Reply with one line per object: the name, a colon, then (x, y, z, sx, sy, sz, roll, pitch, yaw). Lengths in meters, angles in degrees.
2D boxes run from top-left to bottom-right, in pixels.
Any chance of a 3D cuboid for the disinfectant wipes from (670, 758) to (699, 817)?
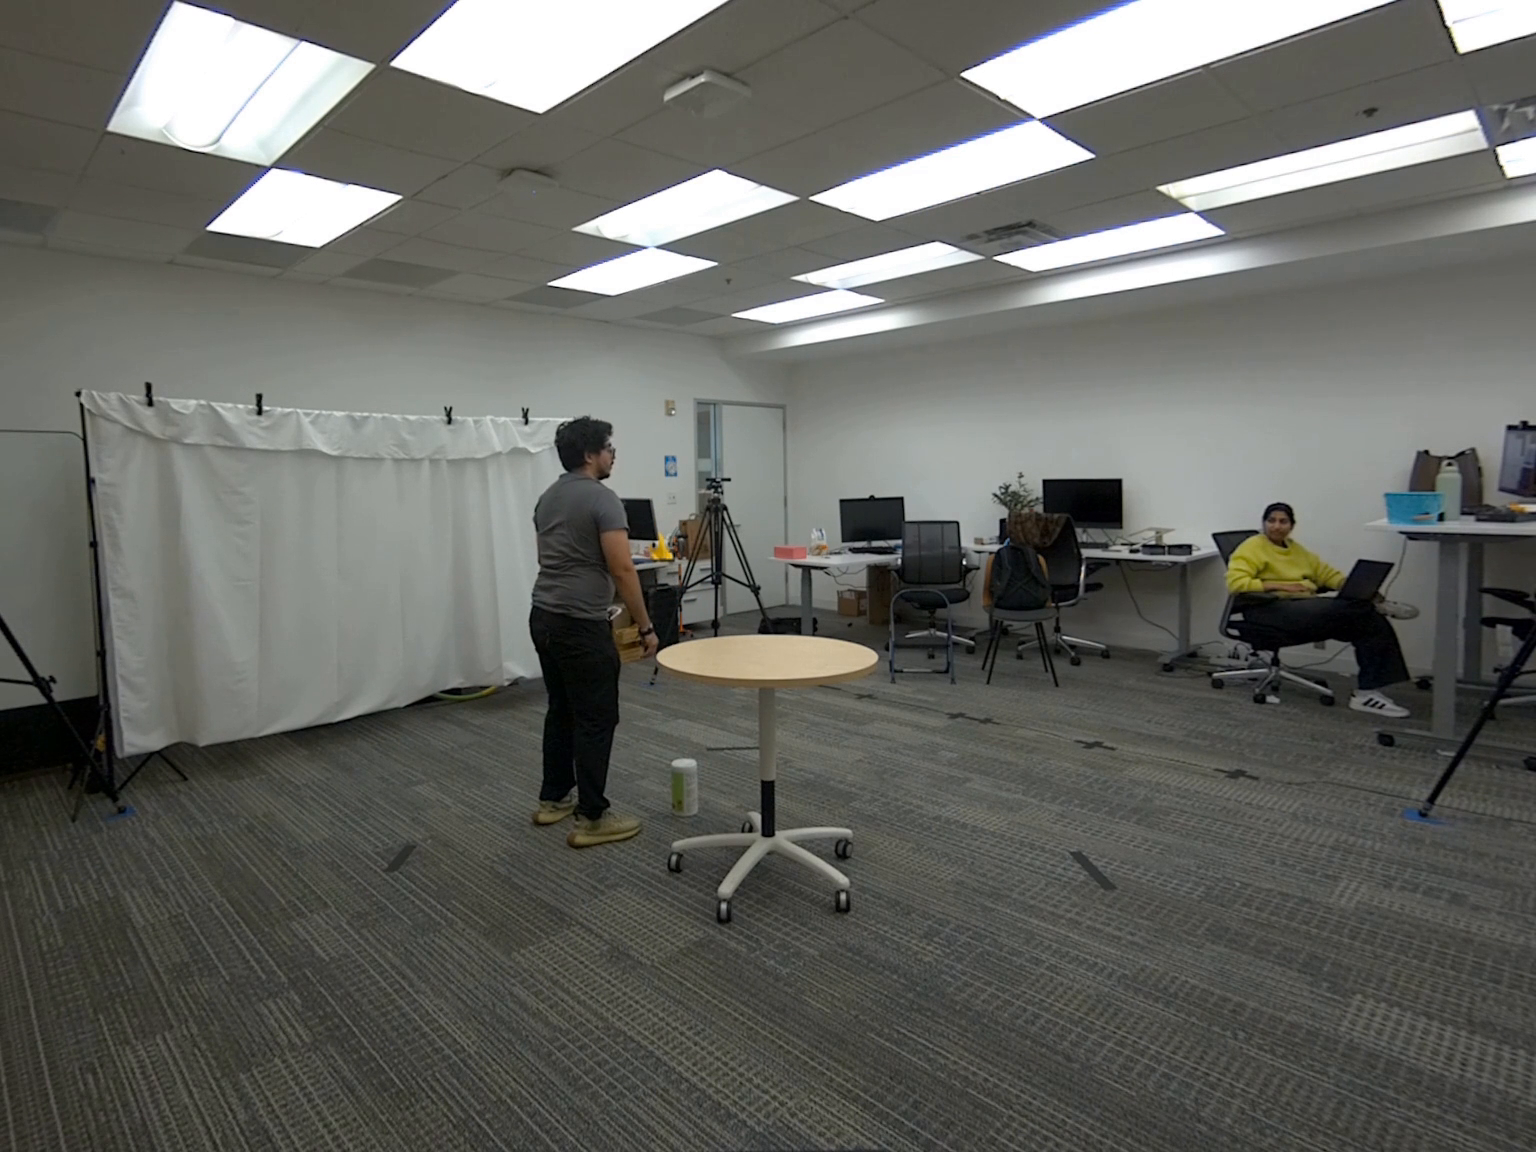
disinfectant wipes: (-0.352, 0.883, 3.579, 0.118, 0.216, 0.118, 0, 5, -2)
